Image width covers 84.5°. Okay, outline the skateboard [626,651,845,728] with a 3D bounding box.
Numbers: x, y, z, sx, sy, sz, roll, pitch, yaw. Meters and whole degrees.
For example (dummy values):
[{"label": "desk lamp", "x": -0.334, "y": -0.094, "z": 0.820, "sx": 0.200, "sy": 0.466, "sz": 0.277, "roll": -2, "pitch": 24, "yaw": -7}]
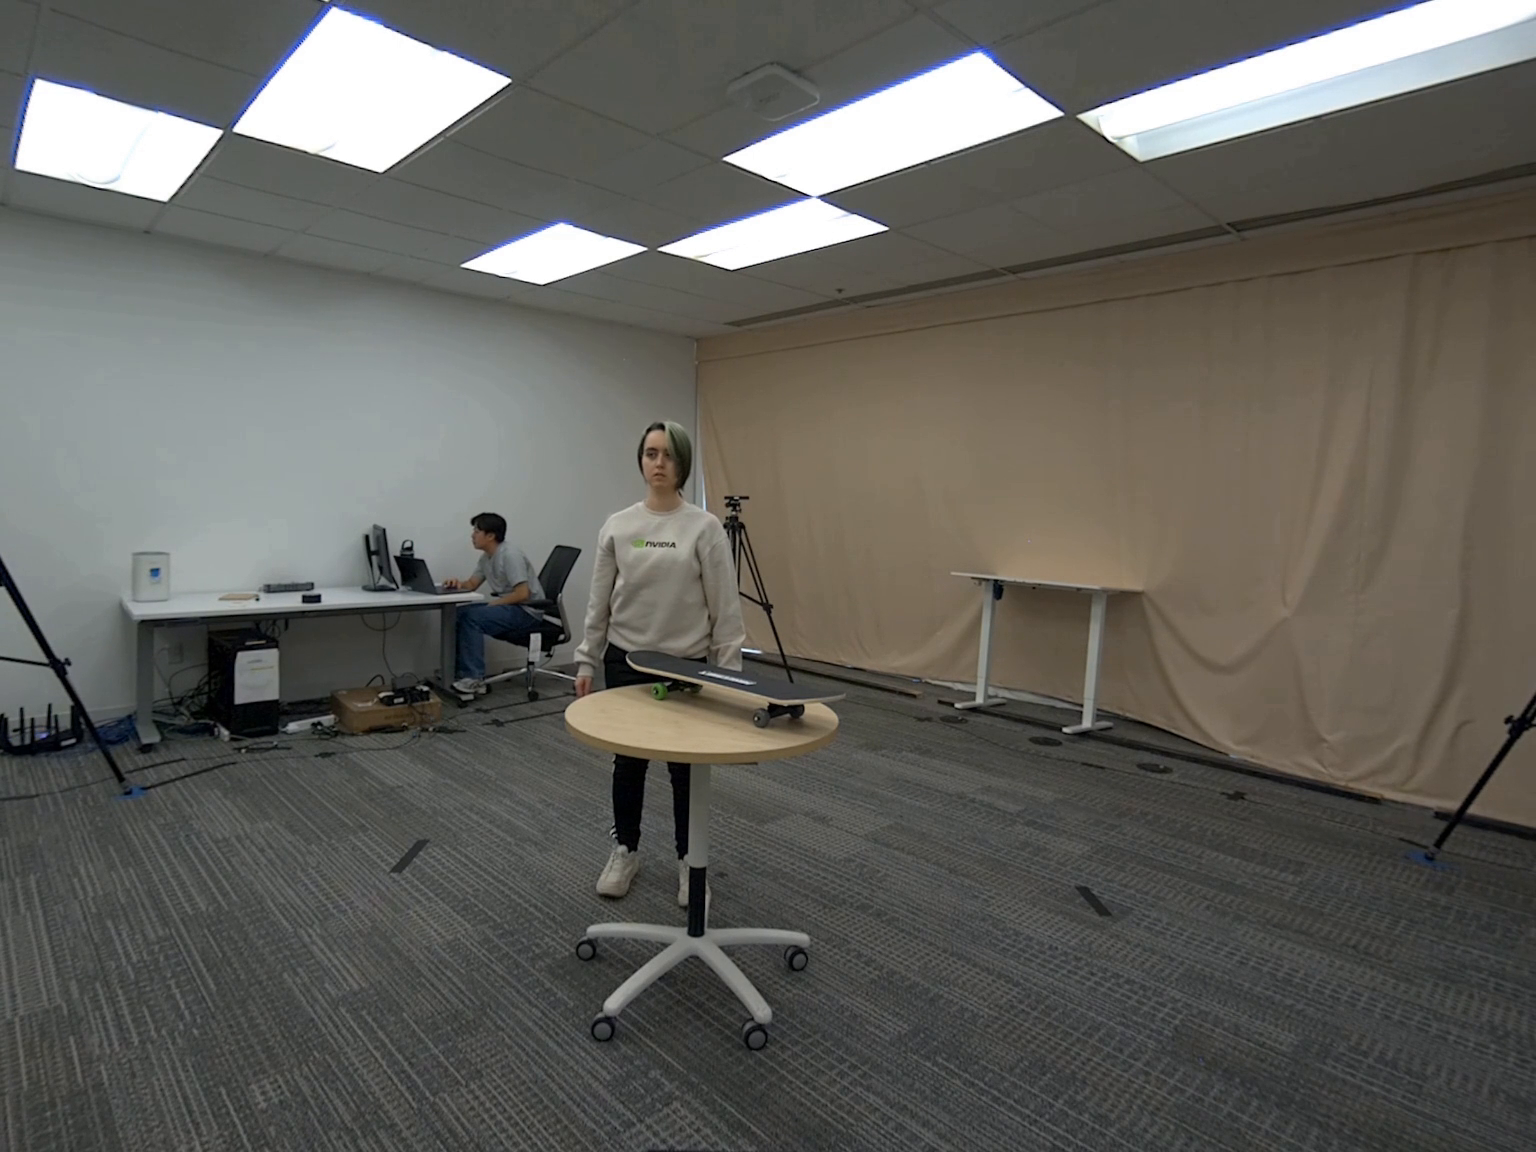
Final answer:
[{"label": "skateboard", "x": -0.137, "y": 0.334, "z": 2.423, "sx": 0.806, "sy": 0.110, "sz": 0.189, "roll": 7, "pitch": 4, "yaw": 42}]
